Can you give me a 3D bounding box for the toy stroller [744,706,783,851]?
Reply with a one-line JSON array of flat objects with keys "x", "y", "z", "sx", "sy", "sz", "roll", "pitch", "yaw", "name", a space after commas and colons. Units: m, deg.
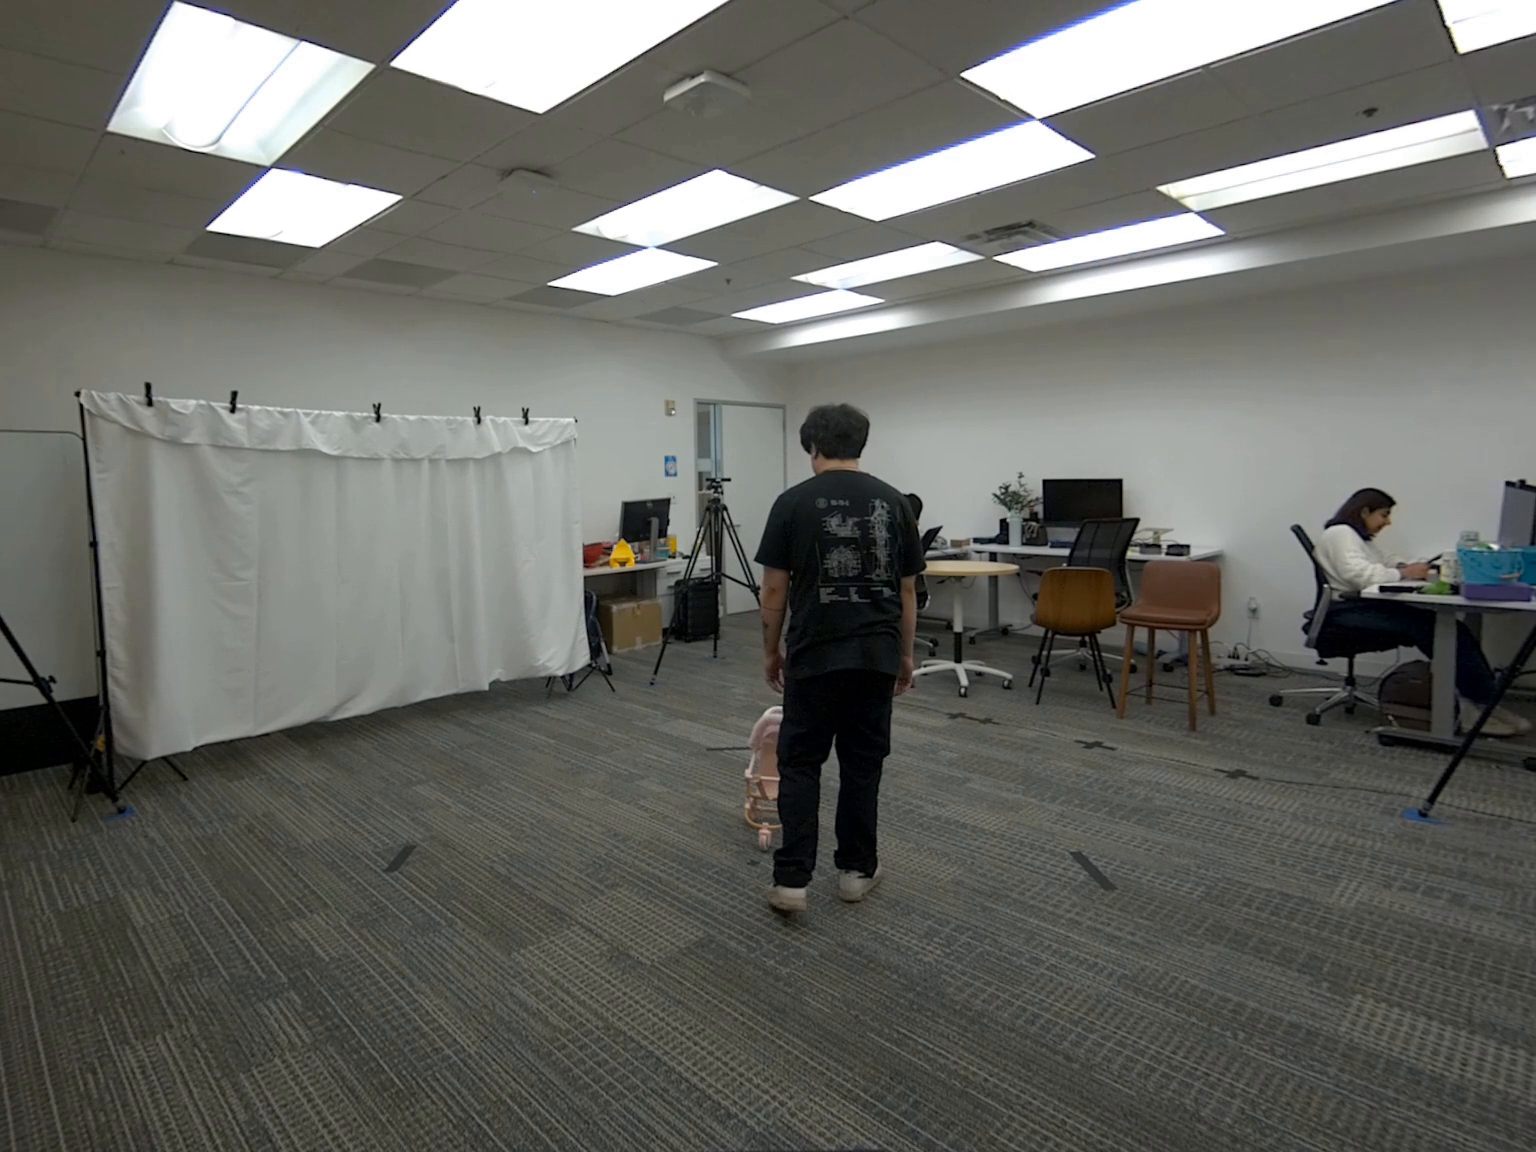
[{"x": 0.029, "y": 0.784, "z": 3.374, "sx": 0.287, "sy": 0.539, "sz": 0.332, "roll": 0, "pitch": -10, "yaw": 20, "name": "toy stroller"}]
